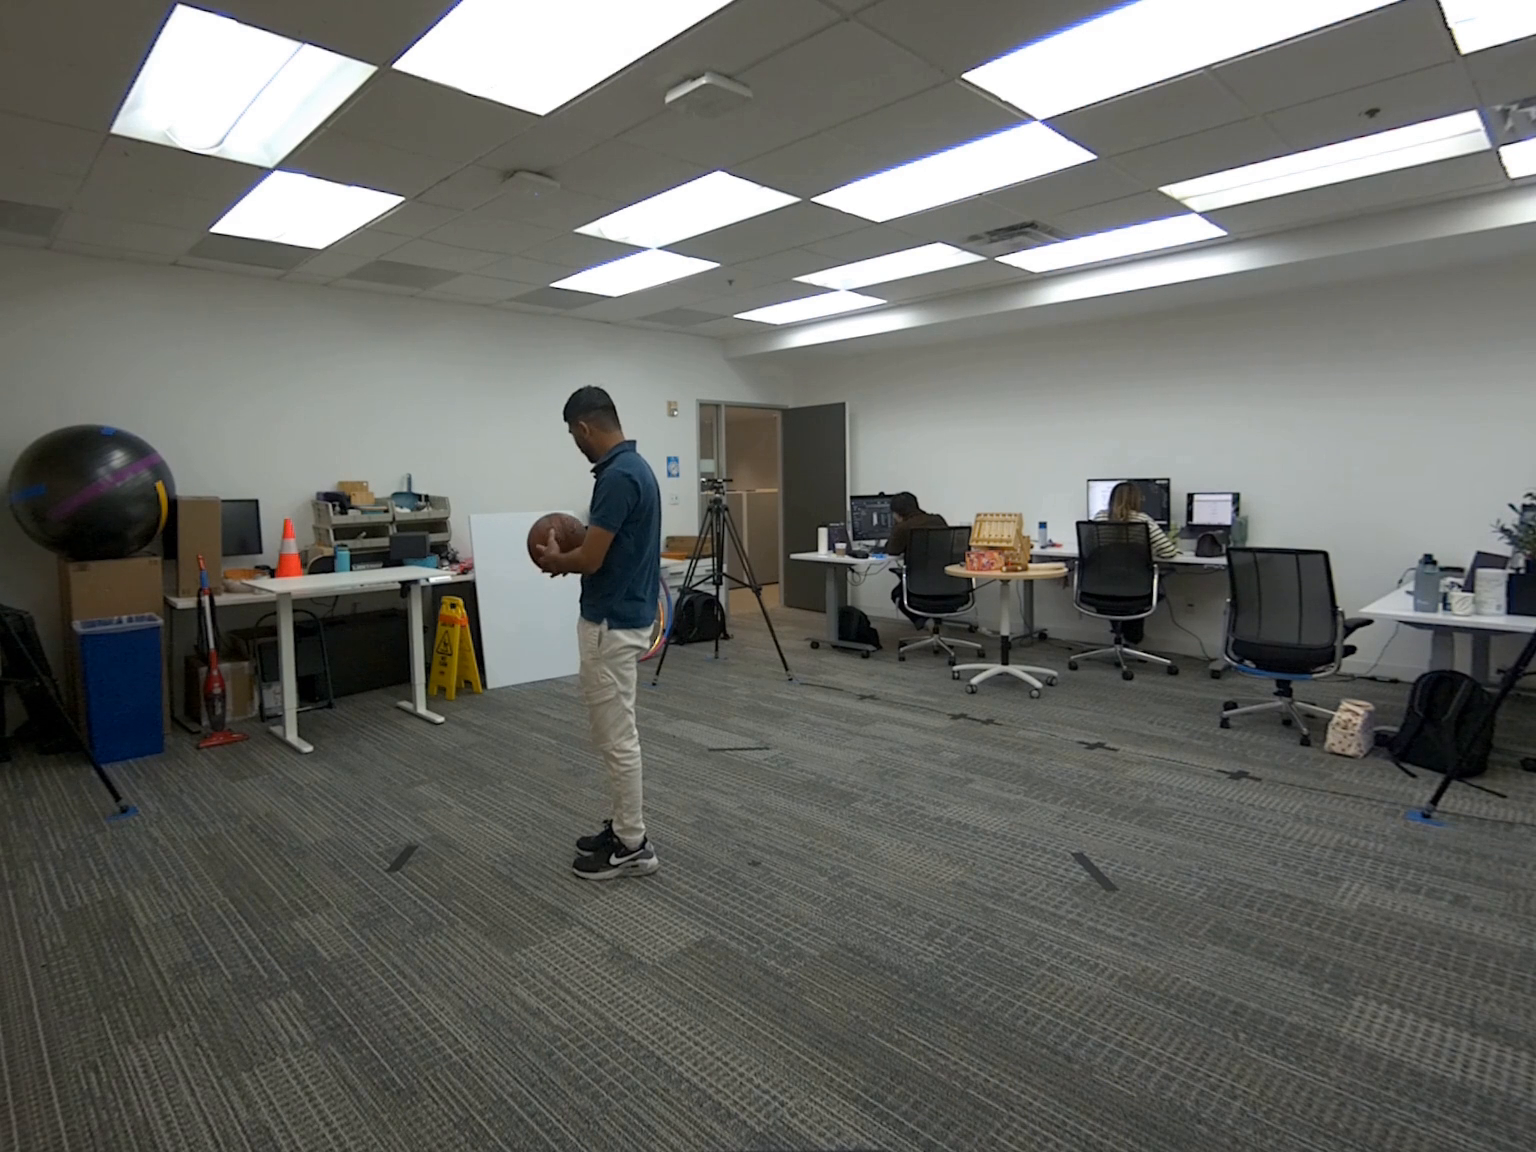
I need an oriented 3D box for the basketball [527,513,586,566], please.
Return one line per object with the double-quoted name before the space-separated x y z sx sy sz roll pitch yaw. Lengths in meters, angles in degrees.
"basketball" -0.805 -0.127 3.301 0.236 0.235 0.237 -1 5 -2
